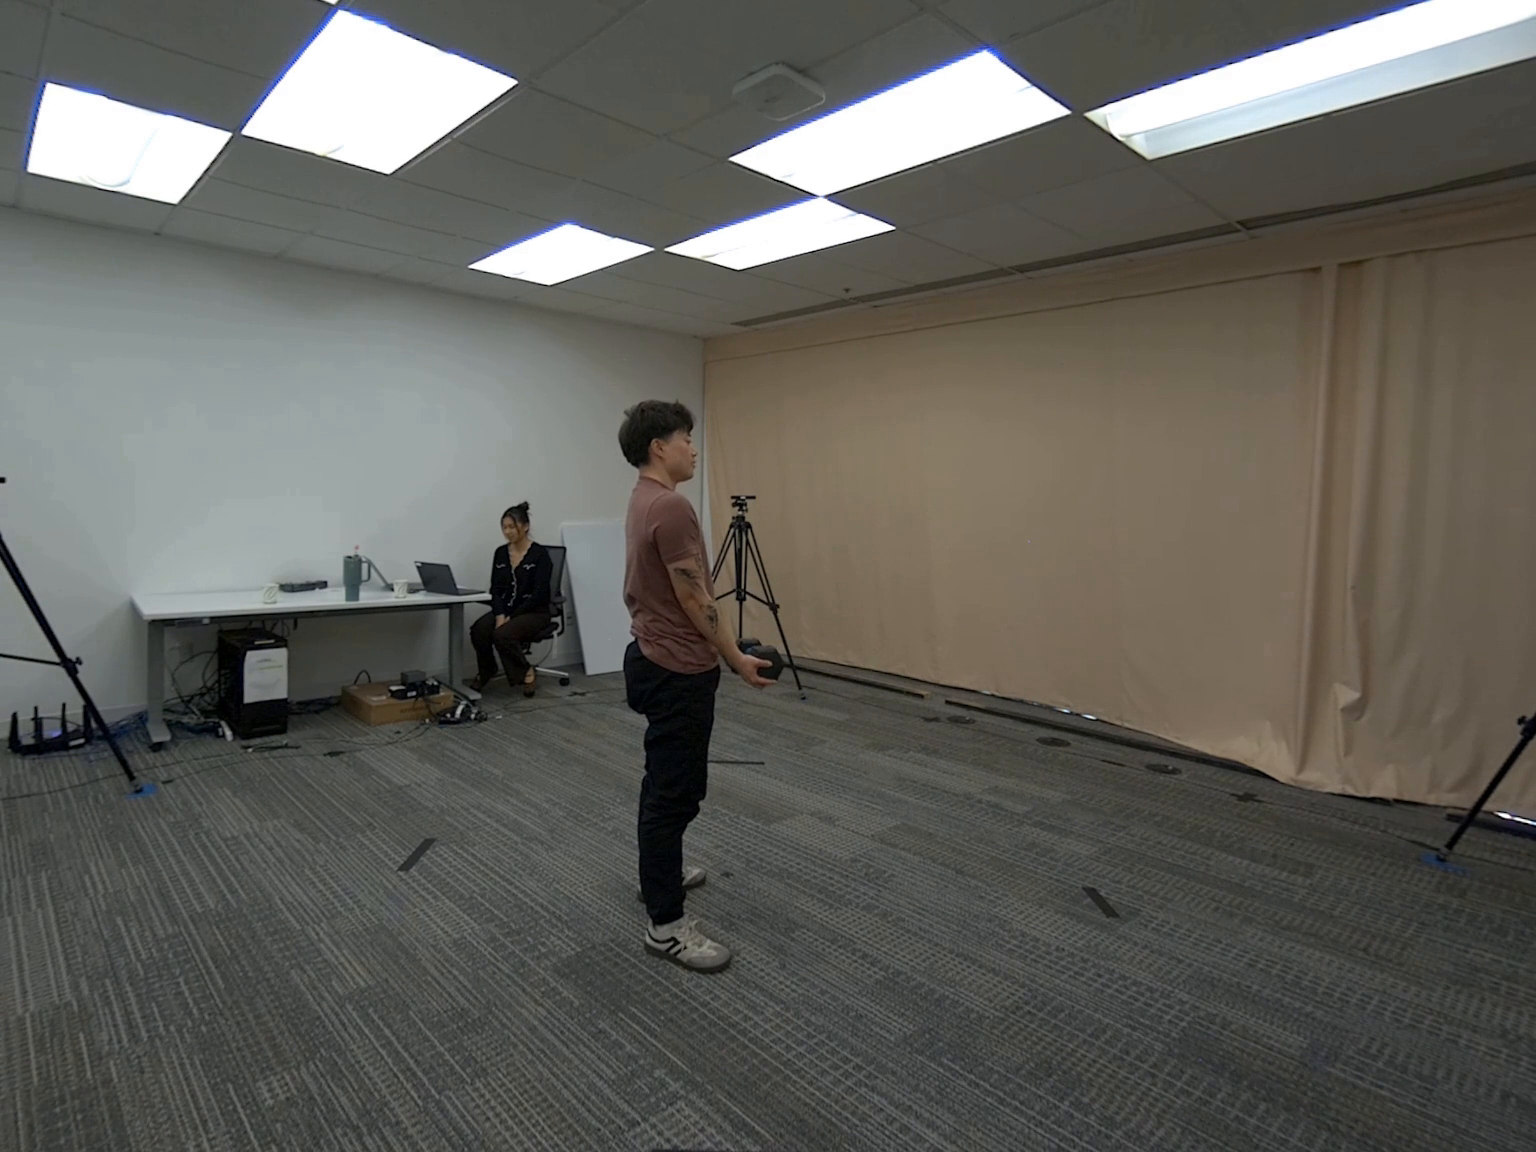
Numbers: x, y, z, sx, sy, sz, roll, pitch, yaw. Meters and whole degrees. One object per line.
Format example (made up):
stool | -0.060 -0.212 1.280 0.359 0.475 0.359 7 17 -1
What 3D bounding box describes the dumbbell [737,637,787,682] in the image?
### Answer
dumbbell | -0.040 0.265 2.750 0.108 0.122 0.297 -34 10 -11
